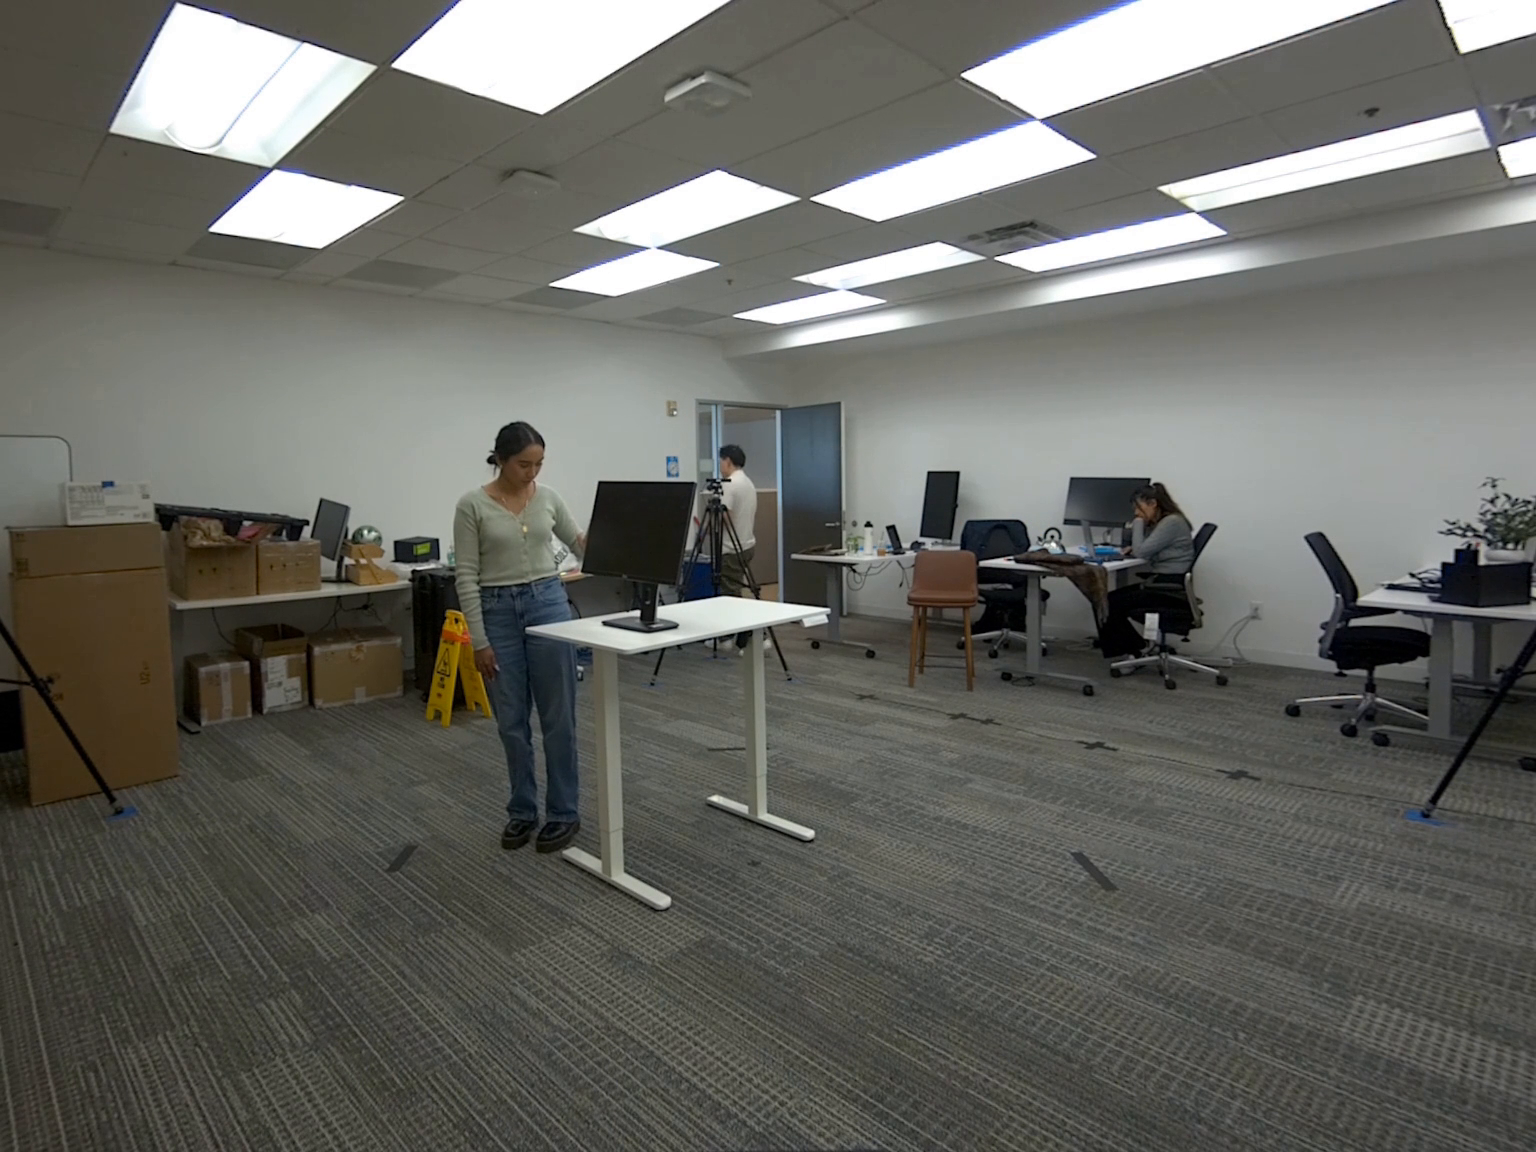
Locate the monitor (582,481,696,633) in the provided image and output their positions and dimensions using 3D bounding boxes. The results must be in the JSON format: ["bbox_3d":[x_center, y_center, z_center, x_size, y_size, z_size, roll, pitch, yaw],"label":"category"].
[{"bbox_3d":[-0.433,-0.072,3.037,0.556,0.522,0.182,4,3,45],"label":"monitor"}]
